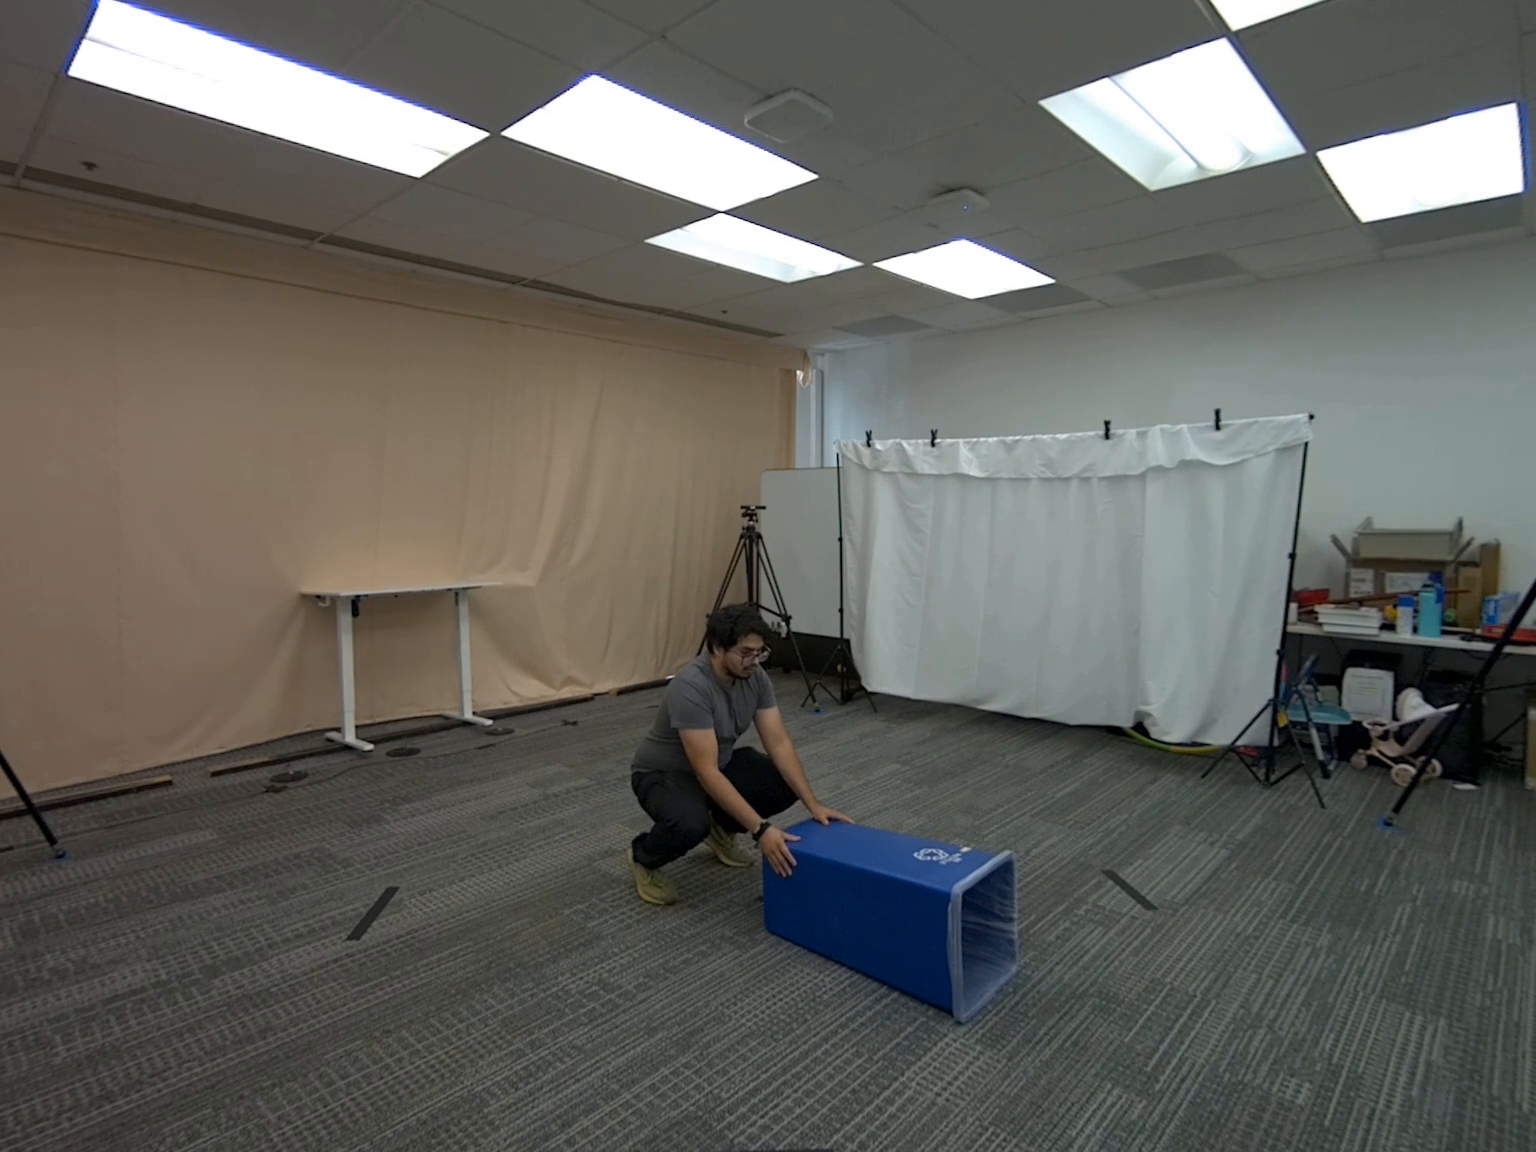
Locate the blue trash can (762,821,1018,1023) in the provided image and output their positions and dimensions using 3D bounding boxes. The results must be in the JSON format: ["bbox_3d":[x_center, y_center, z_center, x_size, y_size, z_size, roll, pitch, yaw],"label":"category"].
[{"bbox_3d":[0.359,1.010,2.607,0.736,0.378,0.363,0,3,41],"label":"blue trash can"}]
